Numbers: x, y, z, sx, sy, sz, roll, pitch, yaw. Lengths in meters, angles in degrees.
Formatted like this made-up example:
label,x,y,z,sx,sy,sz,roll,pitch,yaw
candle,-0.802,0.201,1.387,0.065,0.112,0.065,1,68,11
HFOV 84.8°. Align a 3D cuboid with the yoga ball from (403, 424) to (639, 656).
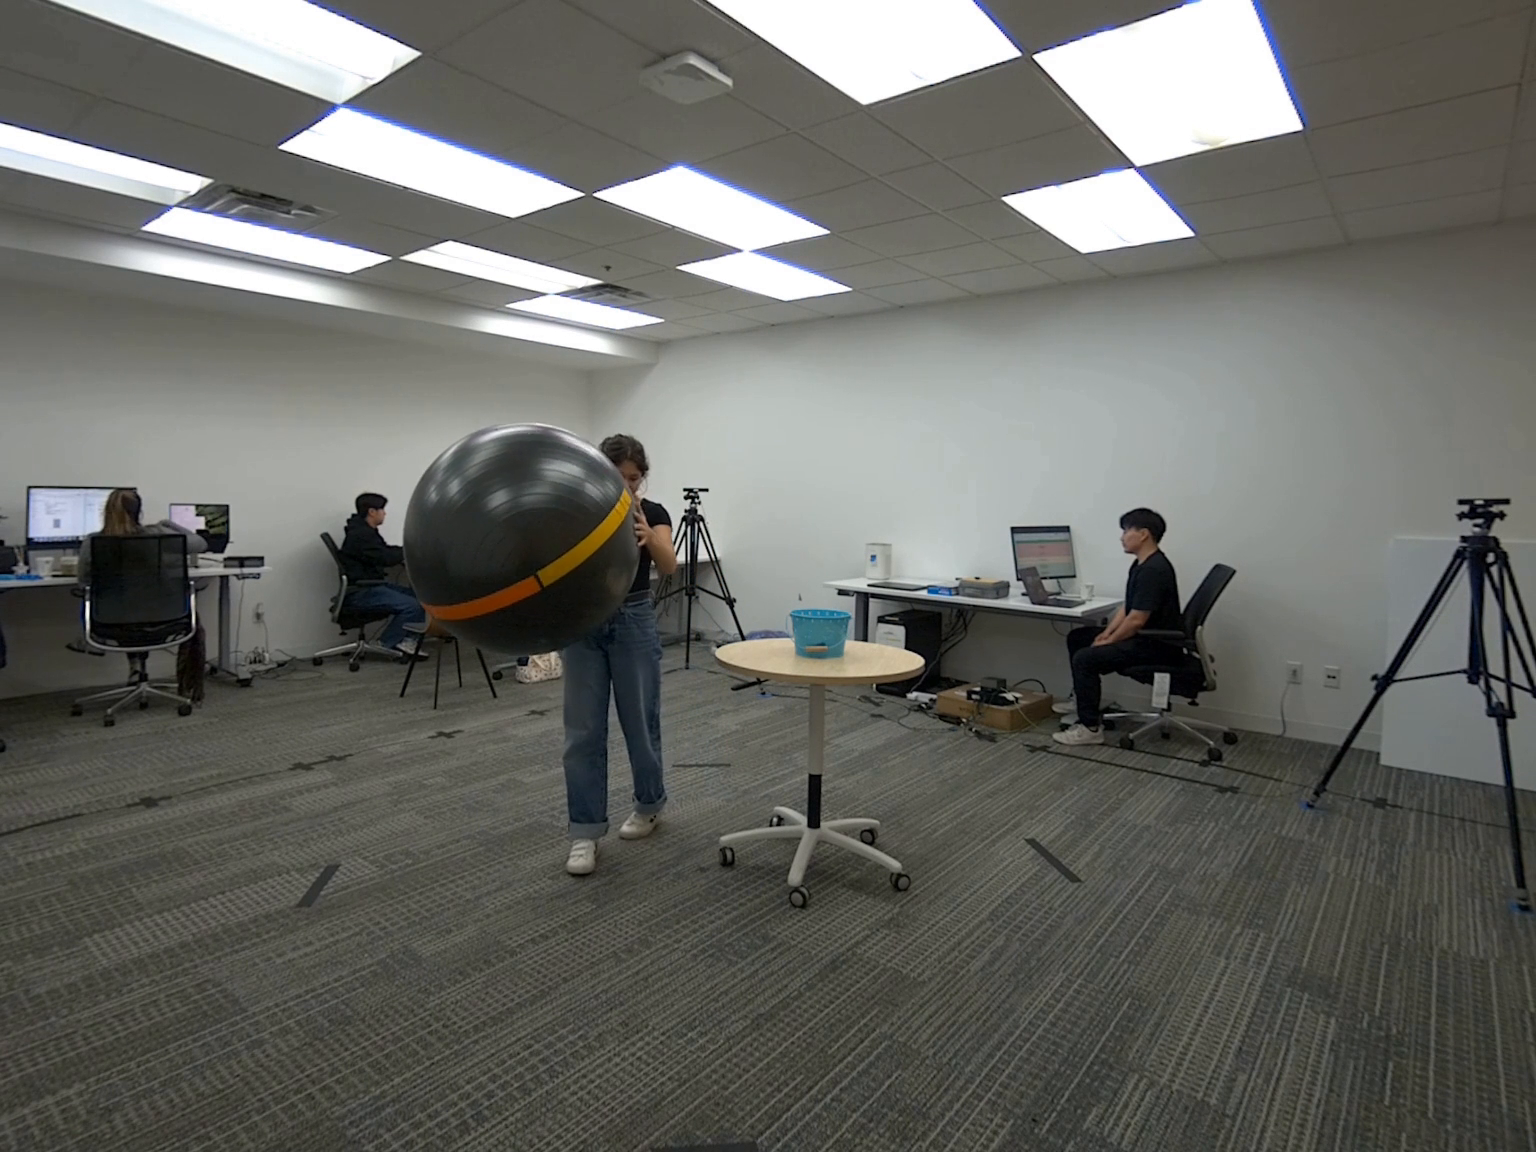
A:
label,x,y,z,sx,sy,sz,roll,pitch,yaw
yoga ball,-0.806,-0.117,2.786,0.757,0.756,0.762,1,4,-2
